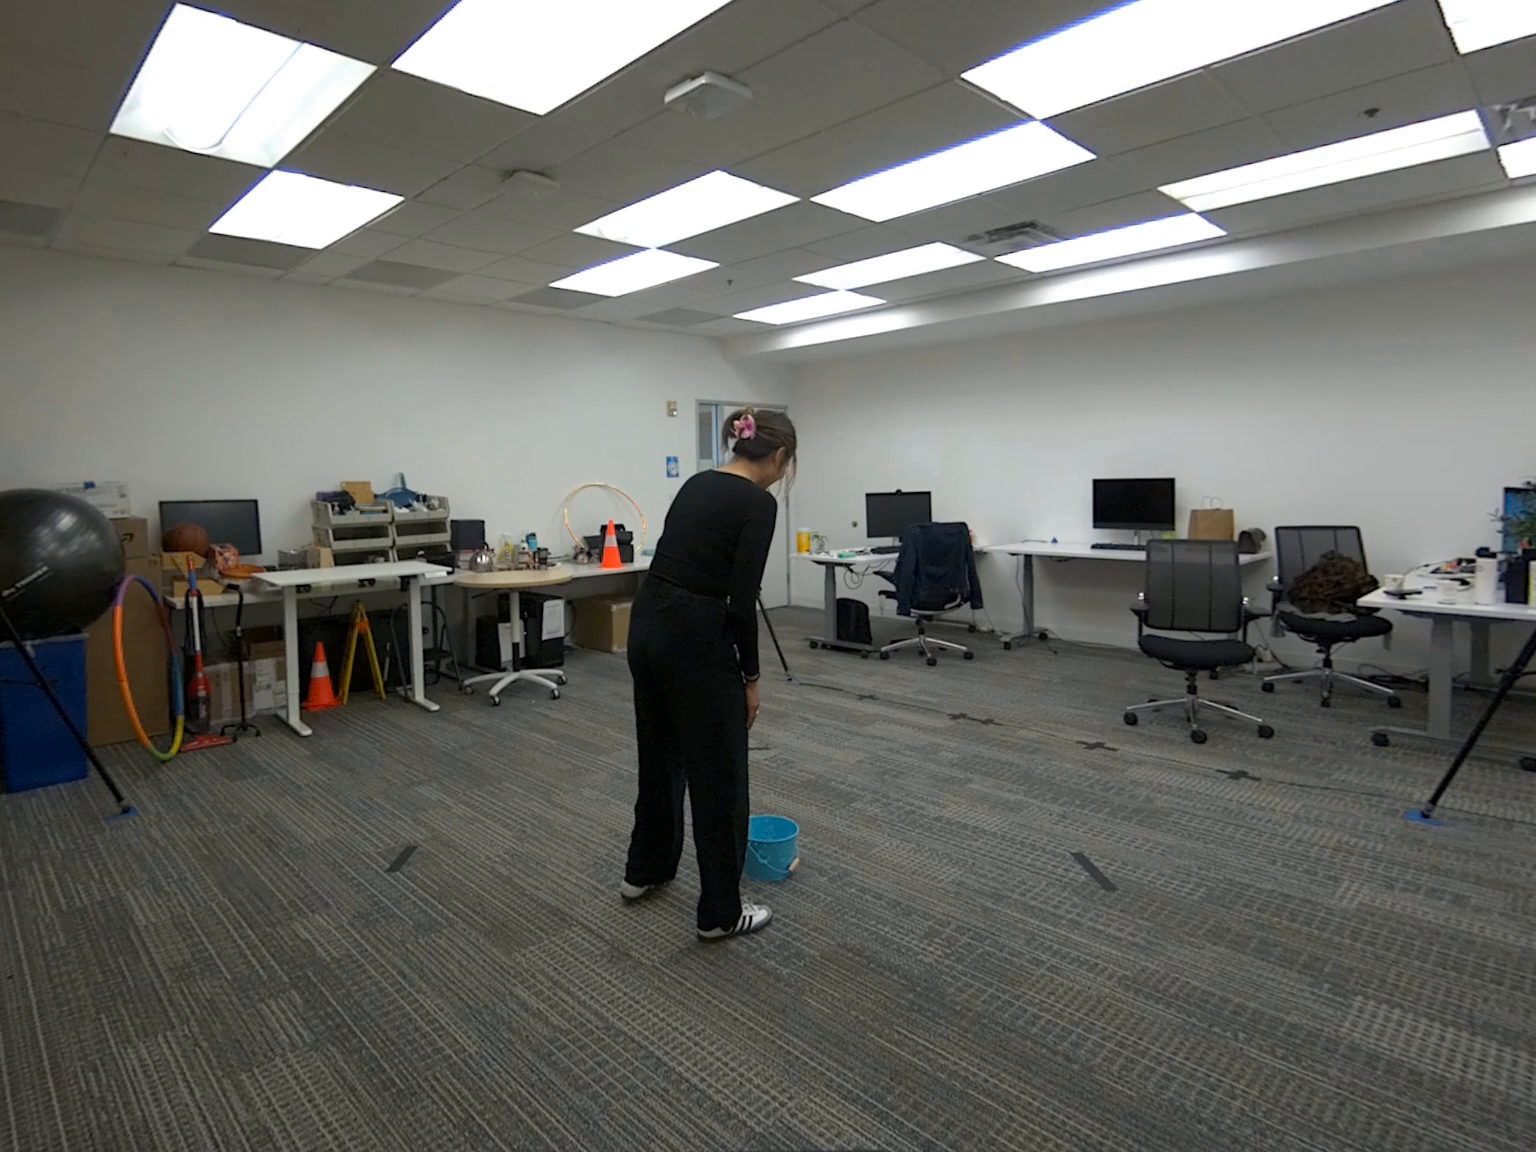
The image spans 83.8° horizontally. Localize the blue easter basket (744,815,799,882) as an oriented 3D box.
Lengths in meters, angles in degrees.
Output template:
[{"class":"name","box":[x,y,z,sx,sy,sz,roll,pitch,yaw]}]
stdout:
[{"class":"blue easter basket","box":[0.001,0.971,3.044,0.243,0.155,0.245,-2,5,-2]}]
